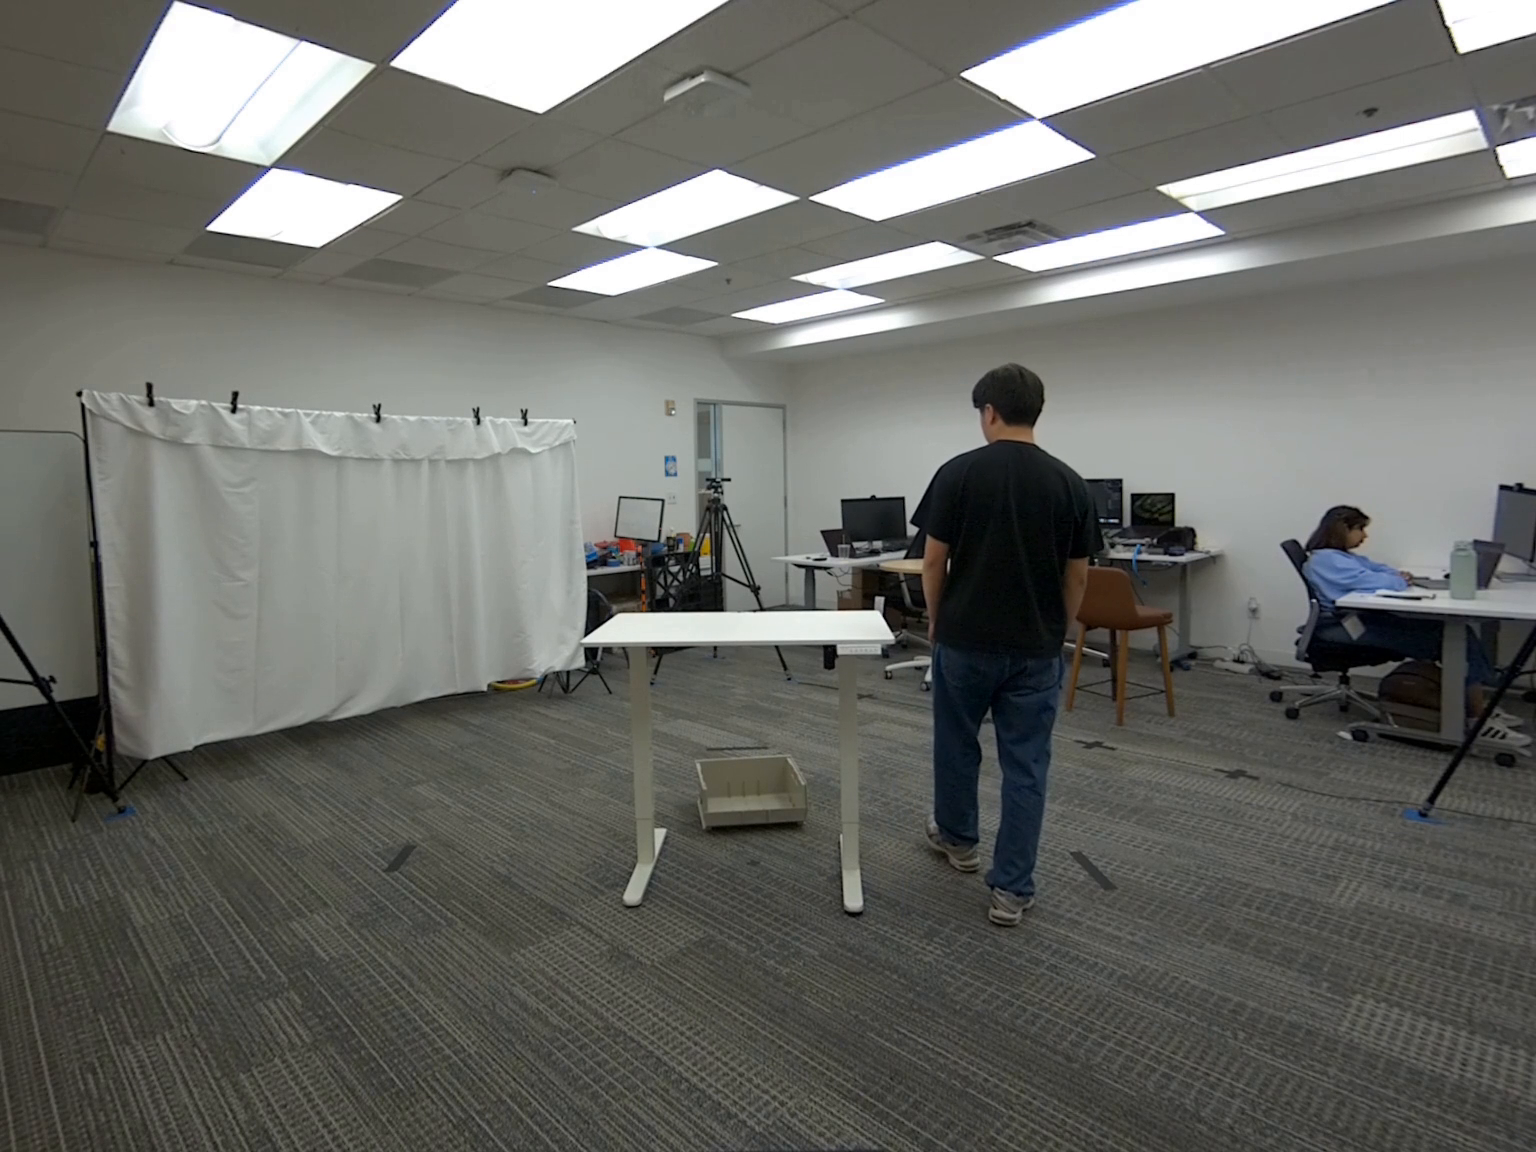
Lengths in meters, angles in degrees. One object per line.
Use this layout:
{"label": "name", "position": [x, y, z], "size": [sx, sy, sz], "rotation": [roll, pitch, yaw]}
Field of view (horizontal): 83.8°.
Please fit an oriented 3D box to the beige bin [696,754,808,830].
{"label": "beige bin", "position": [-0.074, 0.904, 3.552], "size": [0.419, 0.188, 0.381], "rotation": [-2, 5, -8]}
